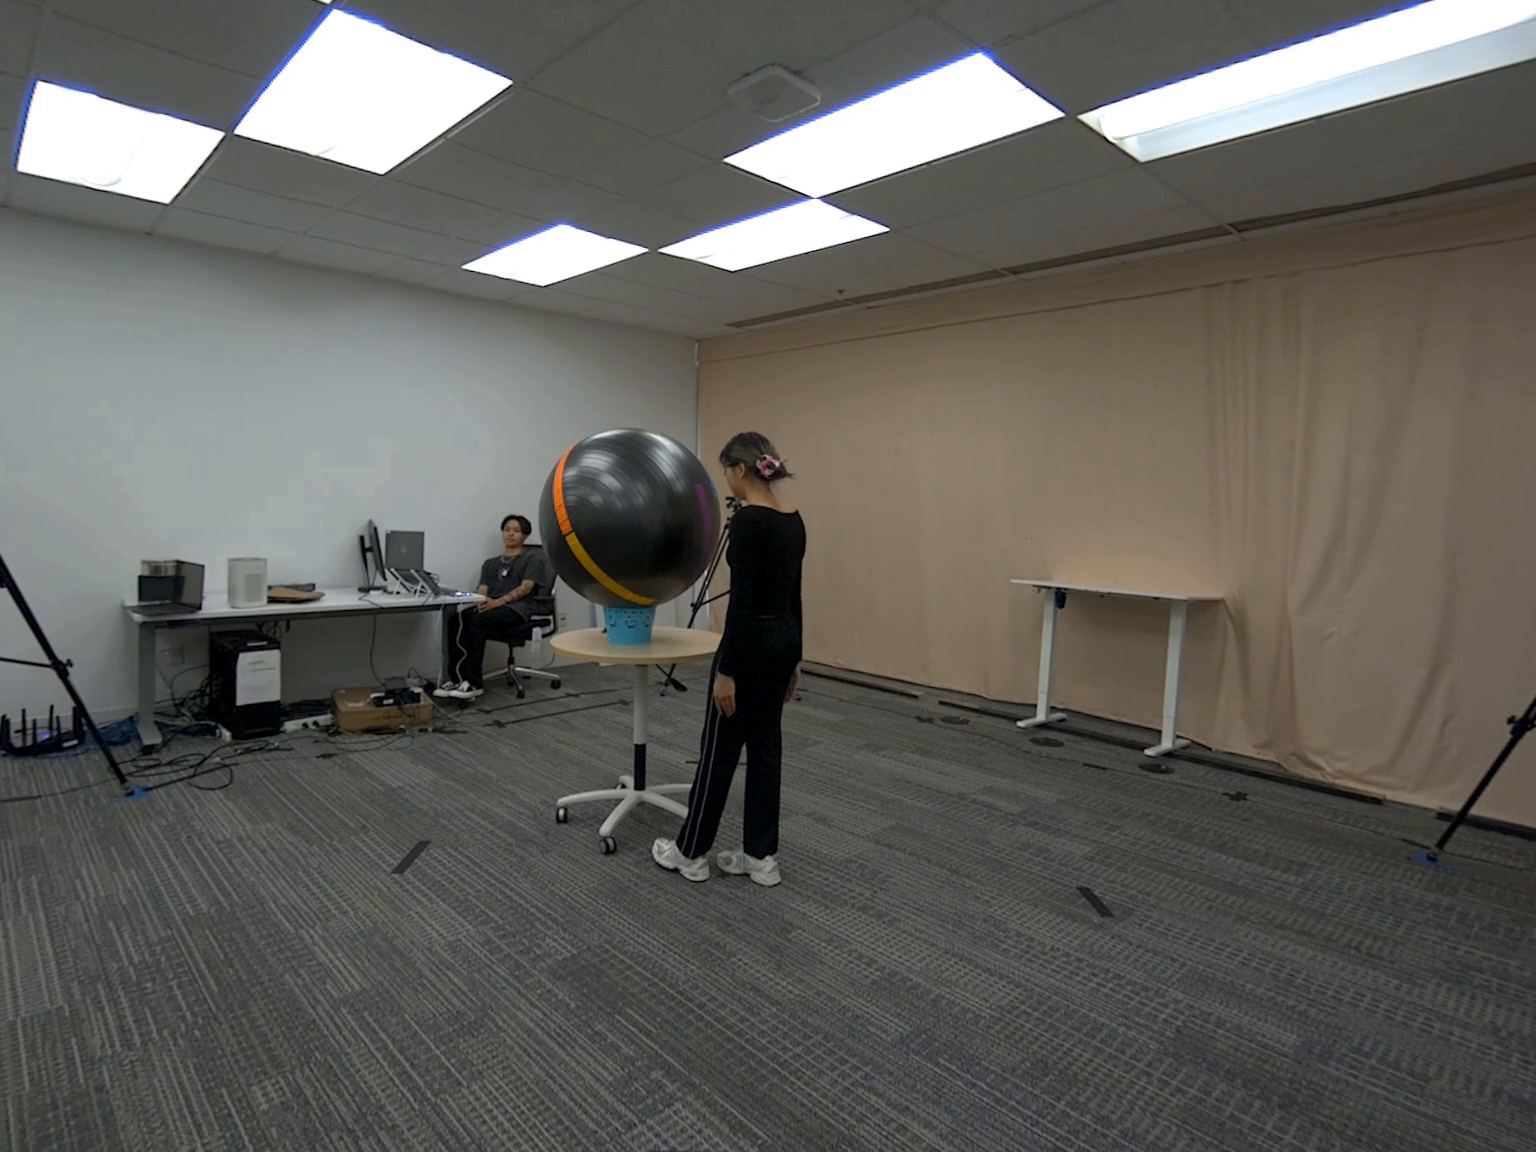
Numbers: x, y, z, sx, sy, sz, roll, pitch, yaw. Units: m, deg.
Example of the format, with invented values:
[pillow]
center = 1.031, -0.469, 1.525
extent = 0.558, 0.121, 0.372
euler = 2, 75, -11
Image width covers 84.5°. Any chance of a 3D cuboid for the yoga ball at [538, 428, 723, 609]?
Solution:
[yoga ball]
center = -0.579, -0.236, 3.527
extent = 0.757, 0.756, 0.761
euler = 1, 4, -1
